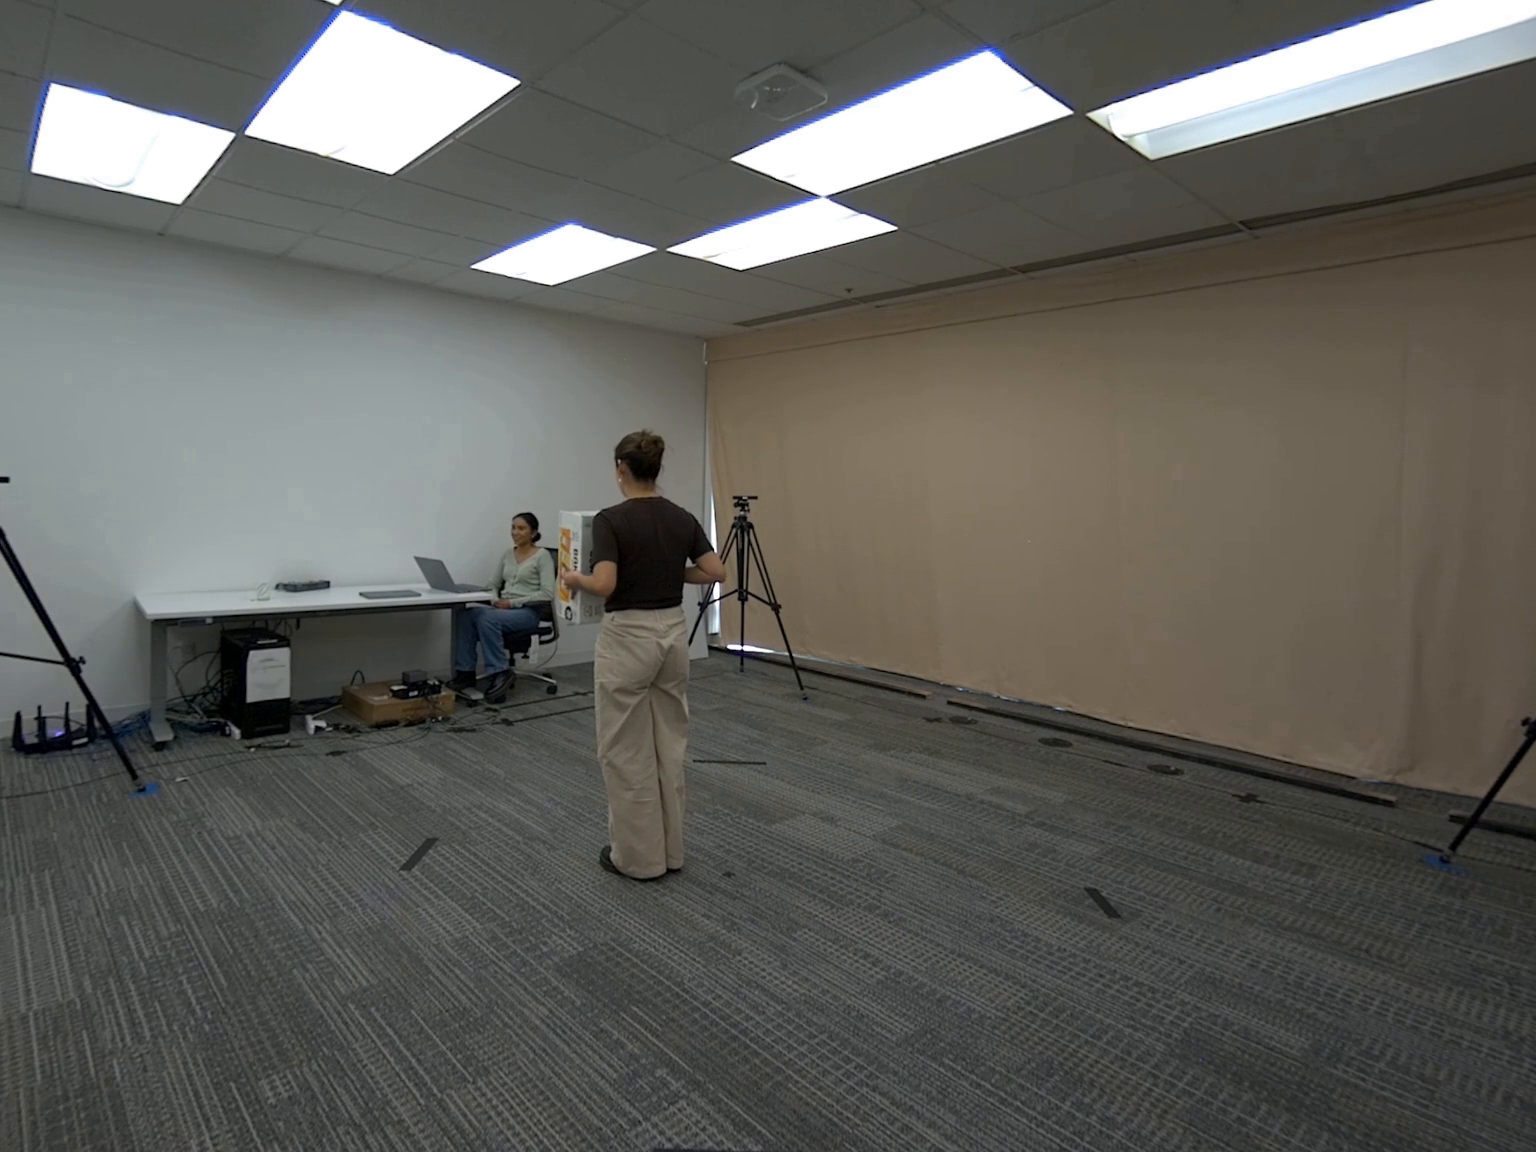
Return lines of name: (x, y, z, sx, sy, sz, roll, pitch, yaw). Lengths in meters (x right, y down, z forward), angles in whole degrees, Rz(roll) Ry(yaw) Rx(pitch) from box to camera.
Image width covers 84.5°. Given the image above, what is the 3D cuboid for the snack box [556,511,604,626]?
snack box: (-0.612, -0.044, 3.233, 0.333, 0.403, 0.211, -2, 8, -37)
